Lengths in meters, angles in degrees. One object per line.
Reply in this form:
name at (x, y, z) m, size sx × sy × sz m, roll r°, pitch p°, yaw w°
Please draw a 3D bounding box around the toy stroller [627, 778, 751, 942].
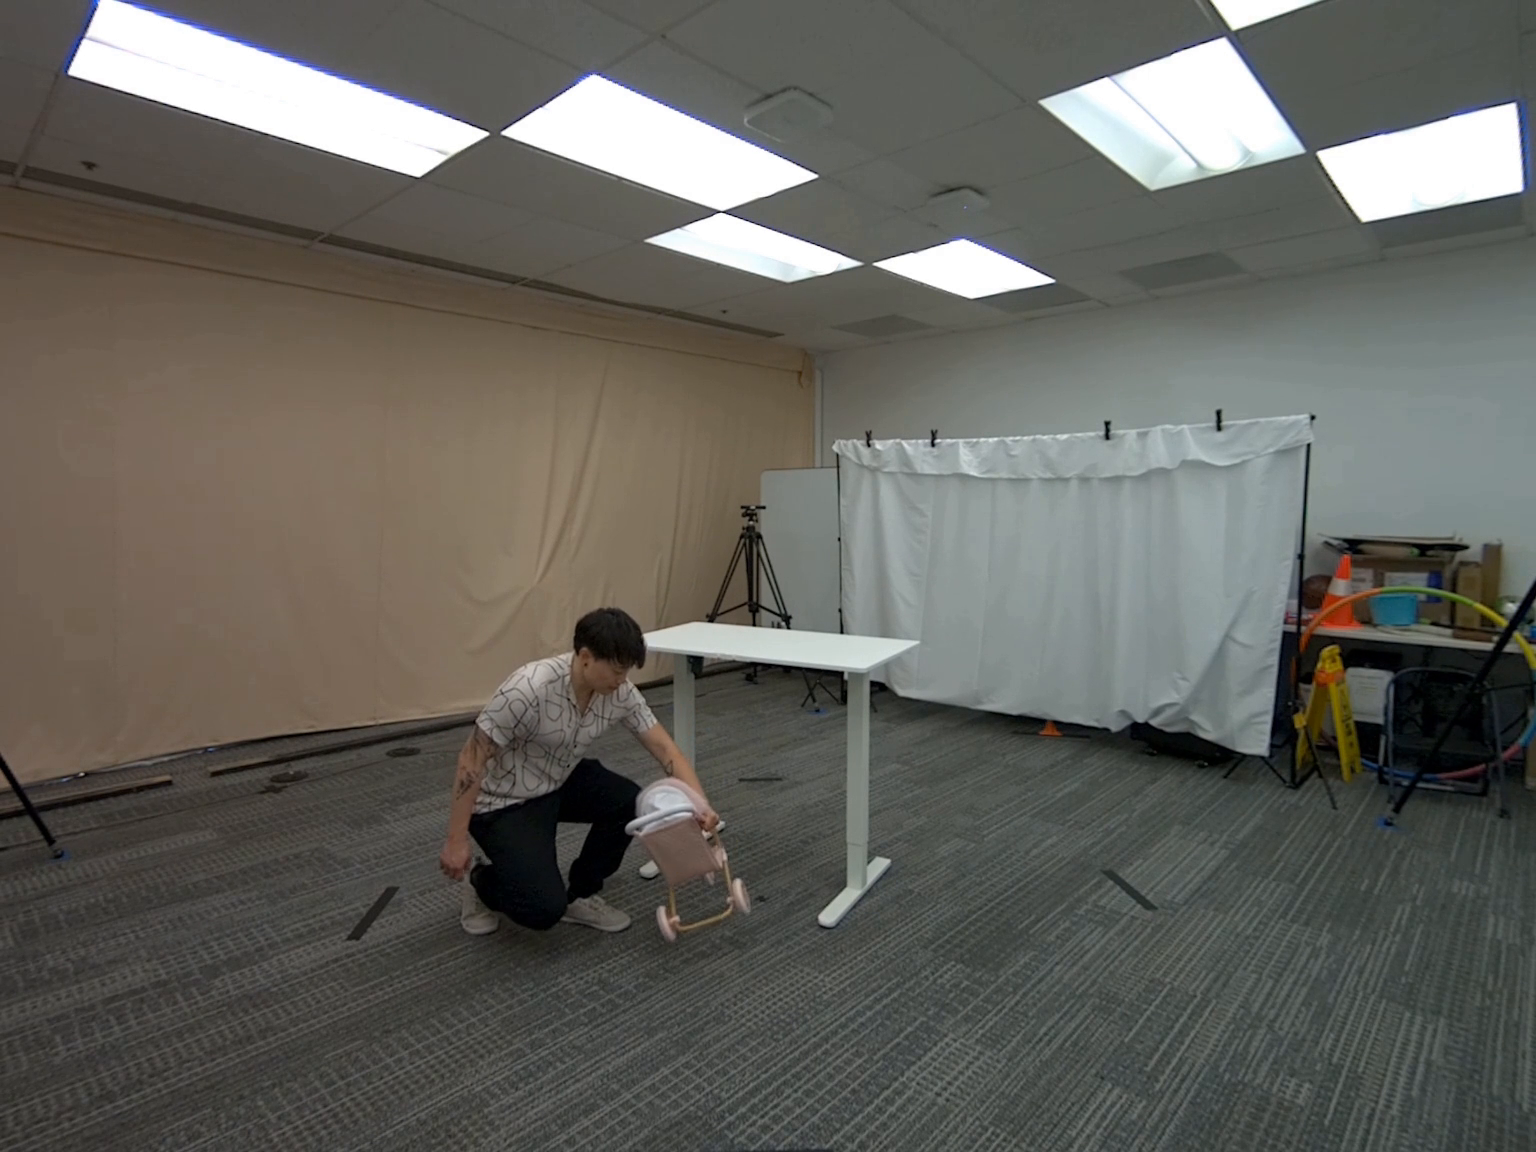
toy stroller at (-0.260, 0.856, 2.638) m, size 0.283 × 0.526 × 0.346 m, roll -19°, pitch 19°, yaw 5°
